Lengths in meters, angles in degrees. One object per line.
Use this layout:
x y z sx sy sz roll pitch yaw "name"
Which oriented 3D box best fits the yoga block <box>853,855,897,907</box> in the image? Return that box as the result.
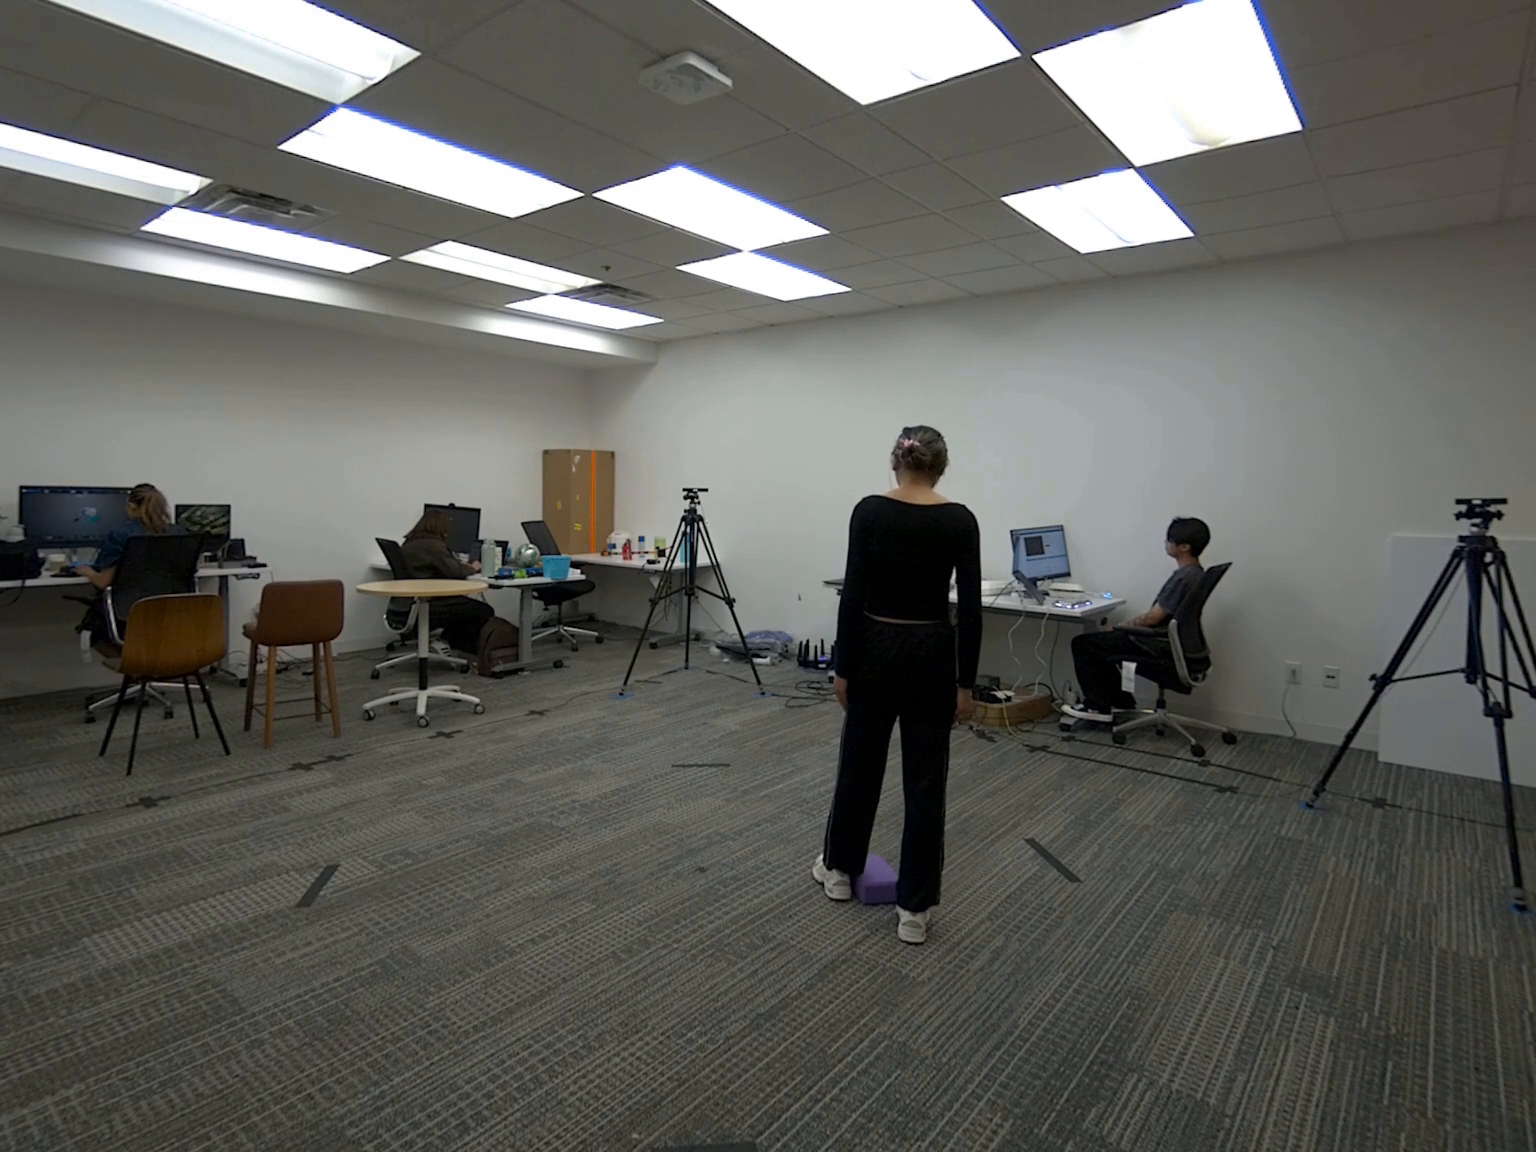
0.358 1.061 2.978 0.147 0.076 0.233 0 6 -14 "yoga block"
